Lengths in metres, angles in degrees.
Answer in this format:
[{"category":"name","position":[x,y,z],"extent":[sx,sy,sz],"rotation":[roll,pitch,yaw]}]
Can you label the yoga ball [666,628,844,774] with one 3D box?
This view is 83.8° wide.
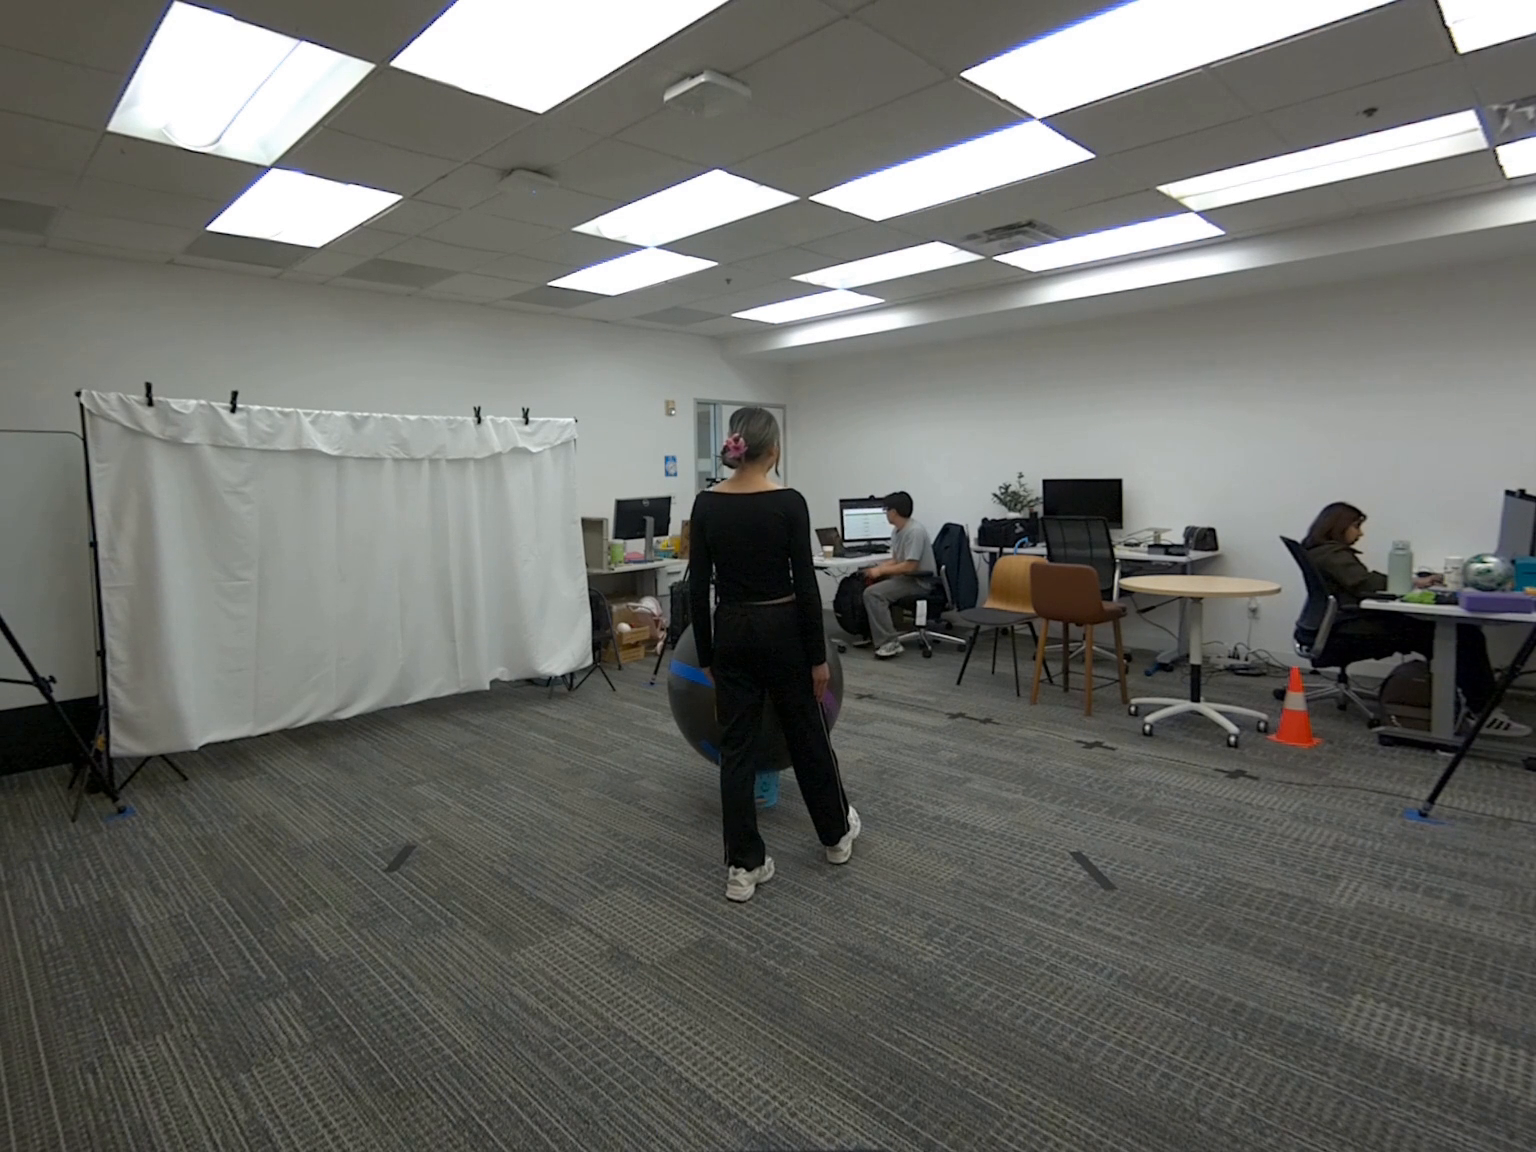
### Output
[{"category":"yoga ball","position":[-0.055,0.471,3.690],"extent":[0.757,0.755,0.762],"rotation":[-1,5,-2]}]
